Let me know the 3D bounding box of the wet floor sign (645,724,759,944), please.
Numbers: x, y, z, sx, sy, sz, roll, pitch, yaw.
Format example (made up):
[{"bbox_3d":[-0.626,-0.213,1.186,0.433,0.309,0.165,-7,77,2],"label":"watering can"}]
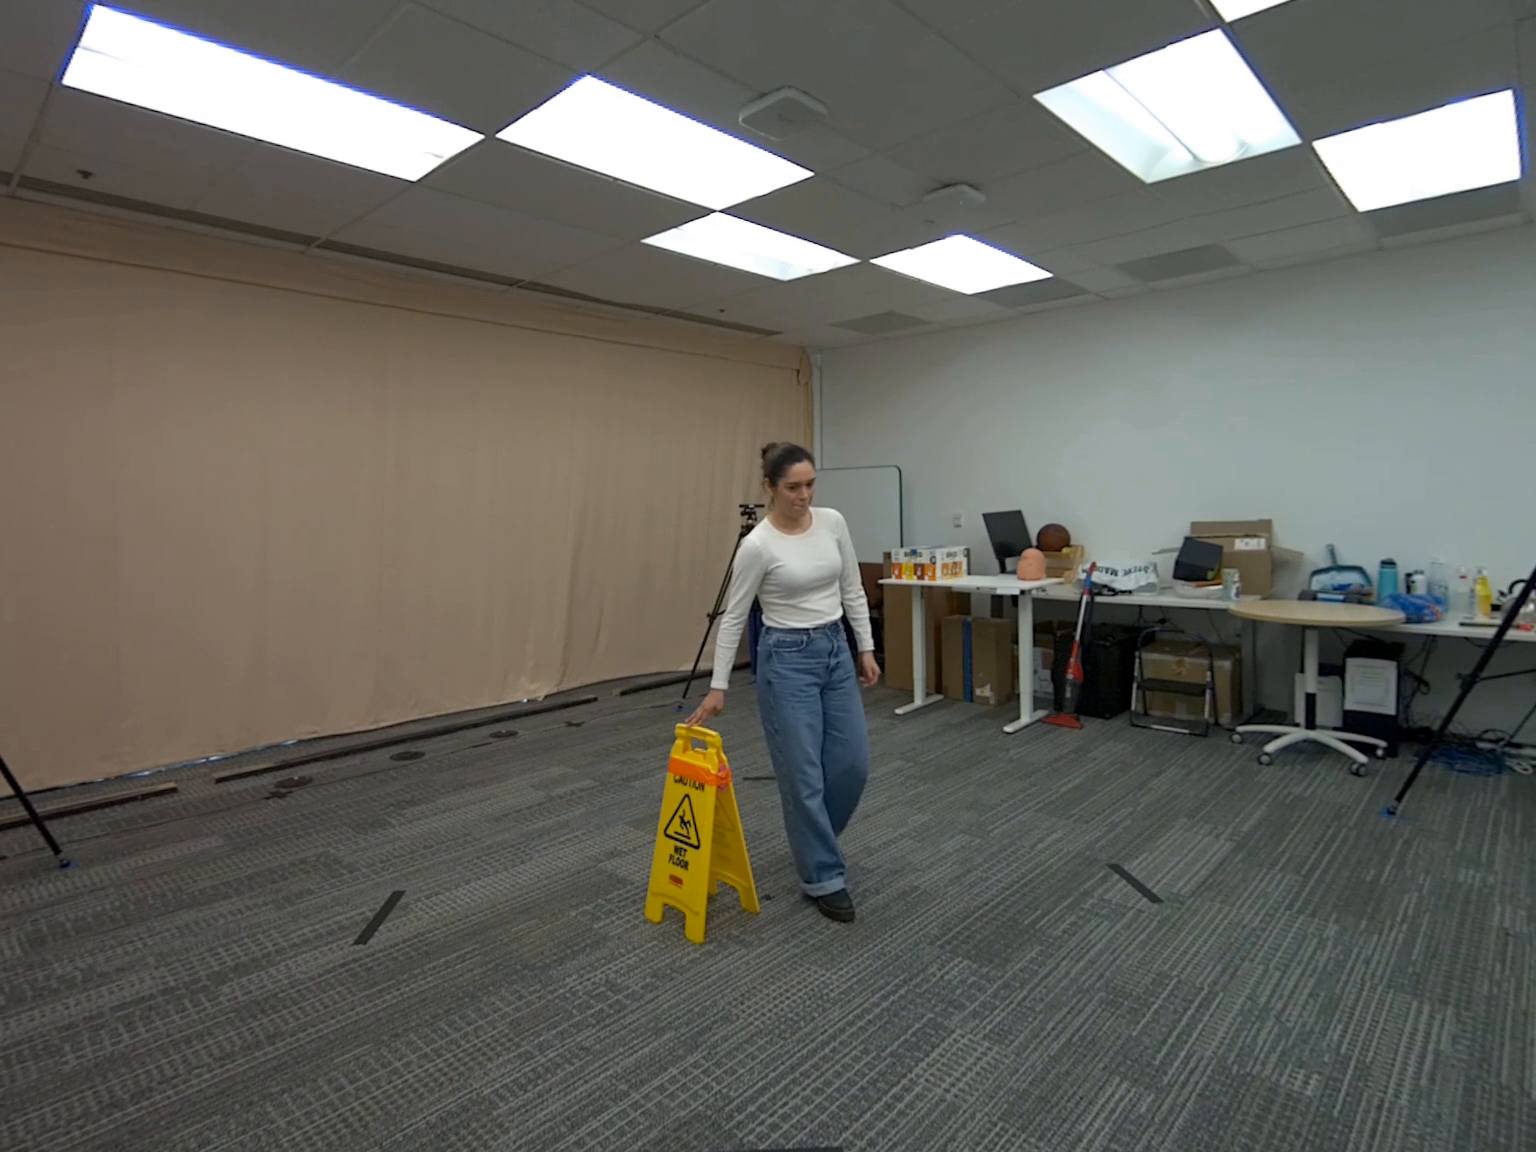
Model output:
[{"bbox_3d":[-0.228,0.833,2.847,0.291,0.645,0.281,1,4,43],"label":"wet floor sign"}]
